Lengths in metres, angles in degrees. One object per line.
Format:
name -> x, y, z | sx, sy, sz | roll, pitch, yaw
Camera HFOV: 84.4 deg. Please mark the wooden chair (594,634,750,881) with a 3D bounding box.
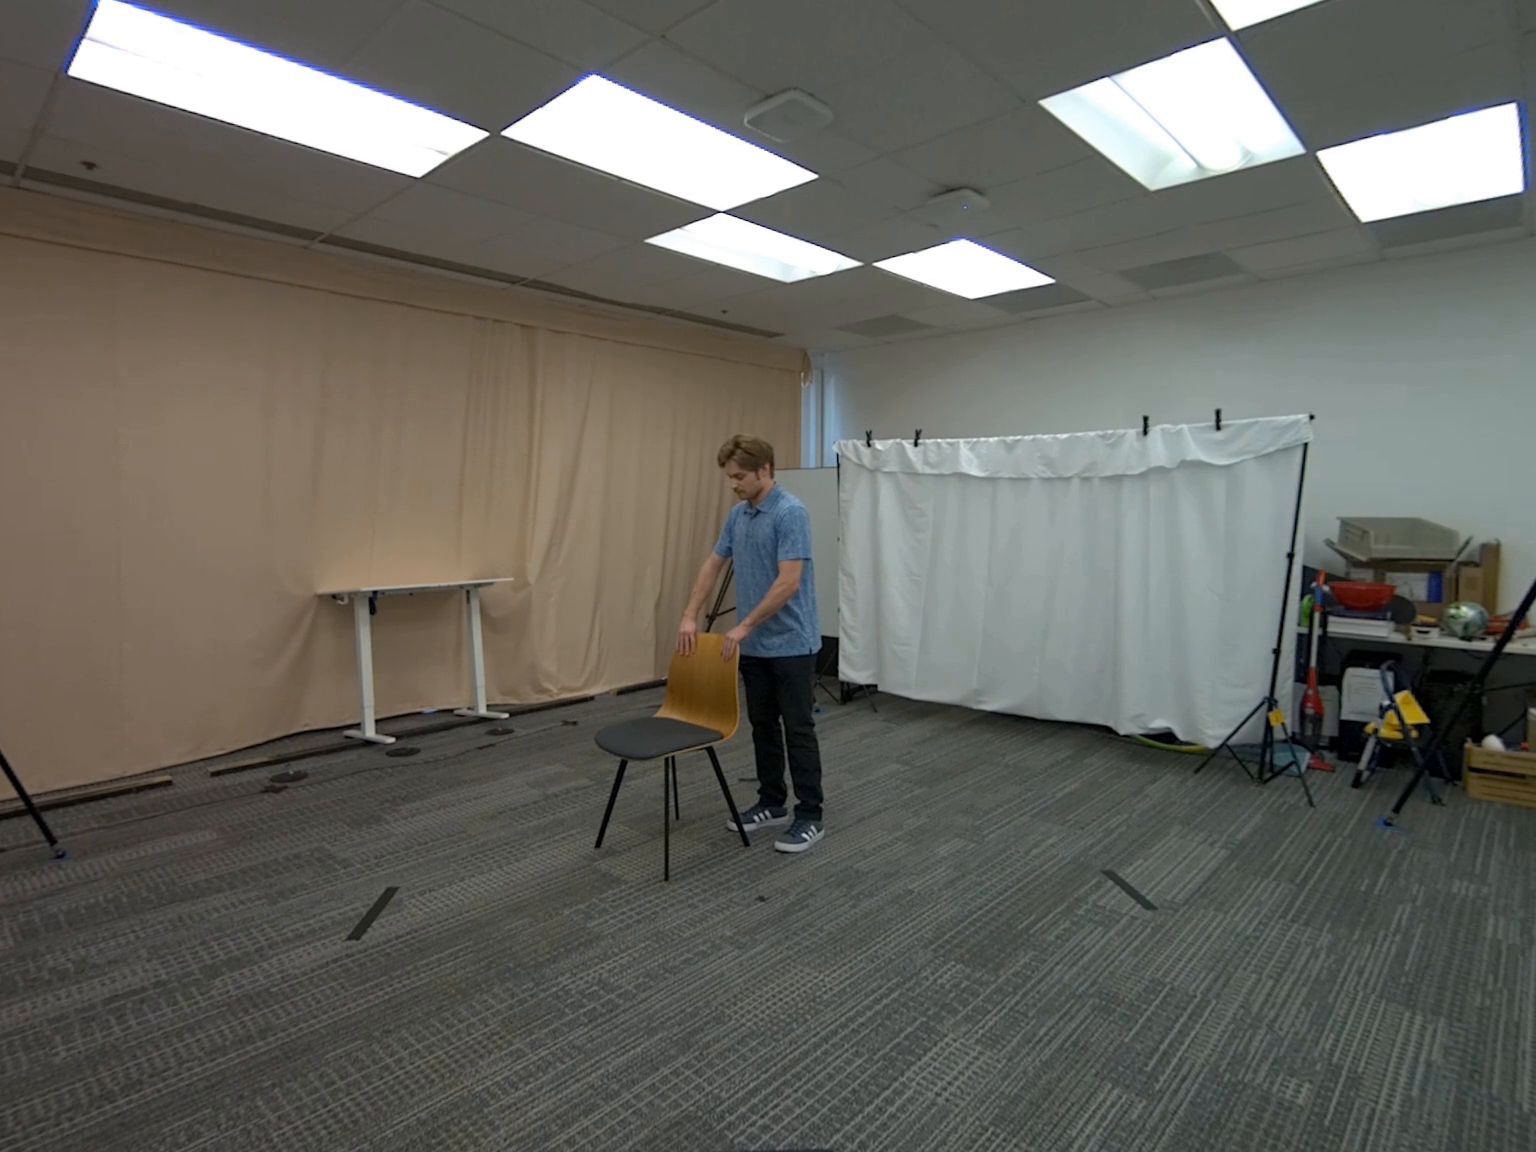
wooden chair -> -0.396, 0.681, 3.401 | 0.494, 0.877, 0.506 | 3, 0, 44
